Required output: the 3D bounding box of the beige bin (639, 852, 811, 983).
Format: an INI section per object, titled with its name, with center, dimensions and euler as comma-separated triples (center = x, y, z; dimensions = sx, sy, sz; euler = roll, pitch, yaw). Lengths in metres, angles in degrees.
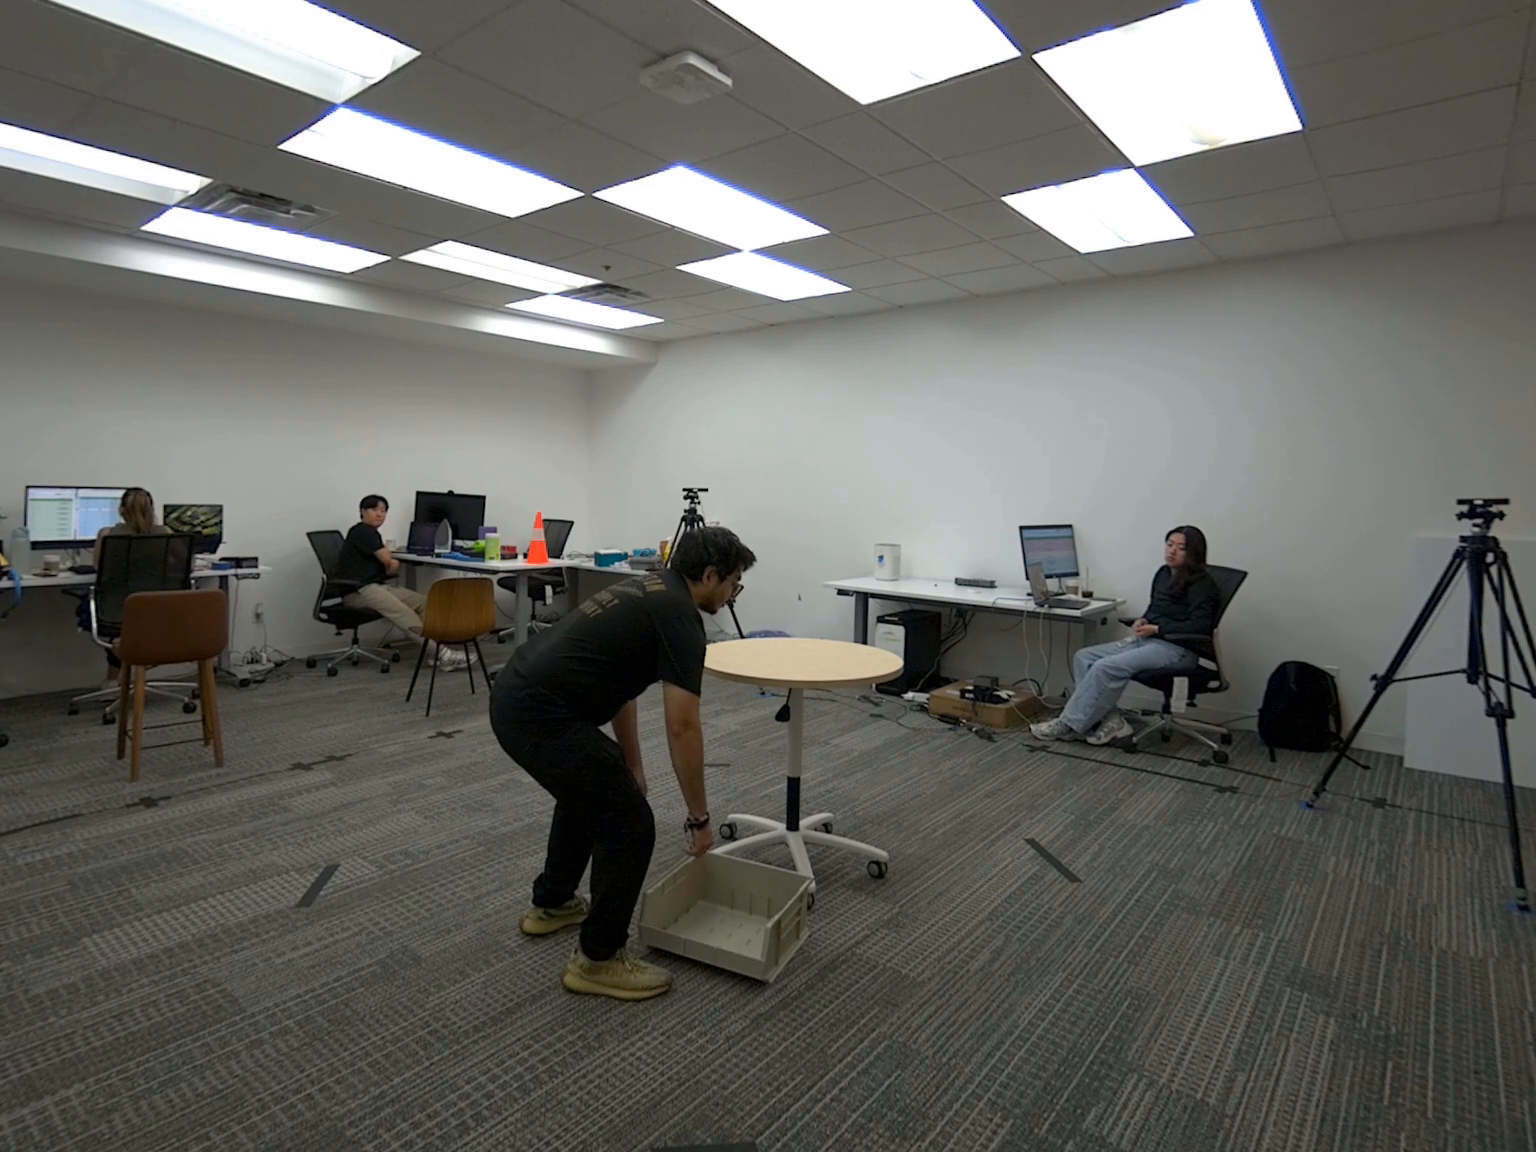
[beige bin]
center = -0.126, 1.035, 2.599
dimensions = 0.433, 0.188, 0.368
euler = 3, 4, 25
